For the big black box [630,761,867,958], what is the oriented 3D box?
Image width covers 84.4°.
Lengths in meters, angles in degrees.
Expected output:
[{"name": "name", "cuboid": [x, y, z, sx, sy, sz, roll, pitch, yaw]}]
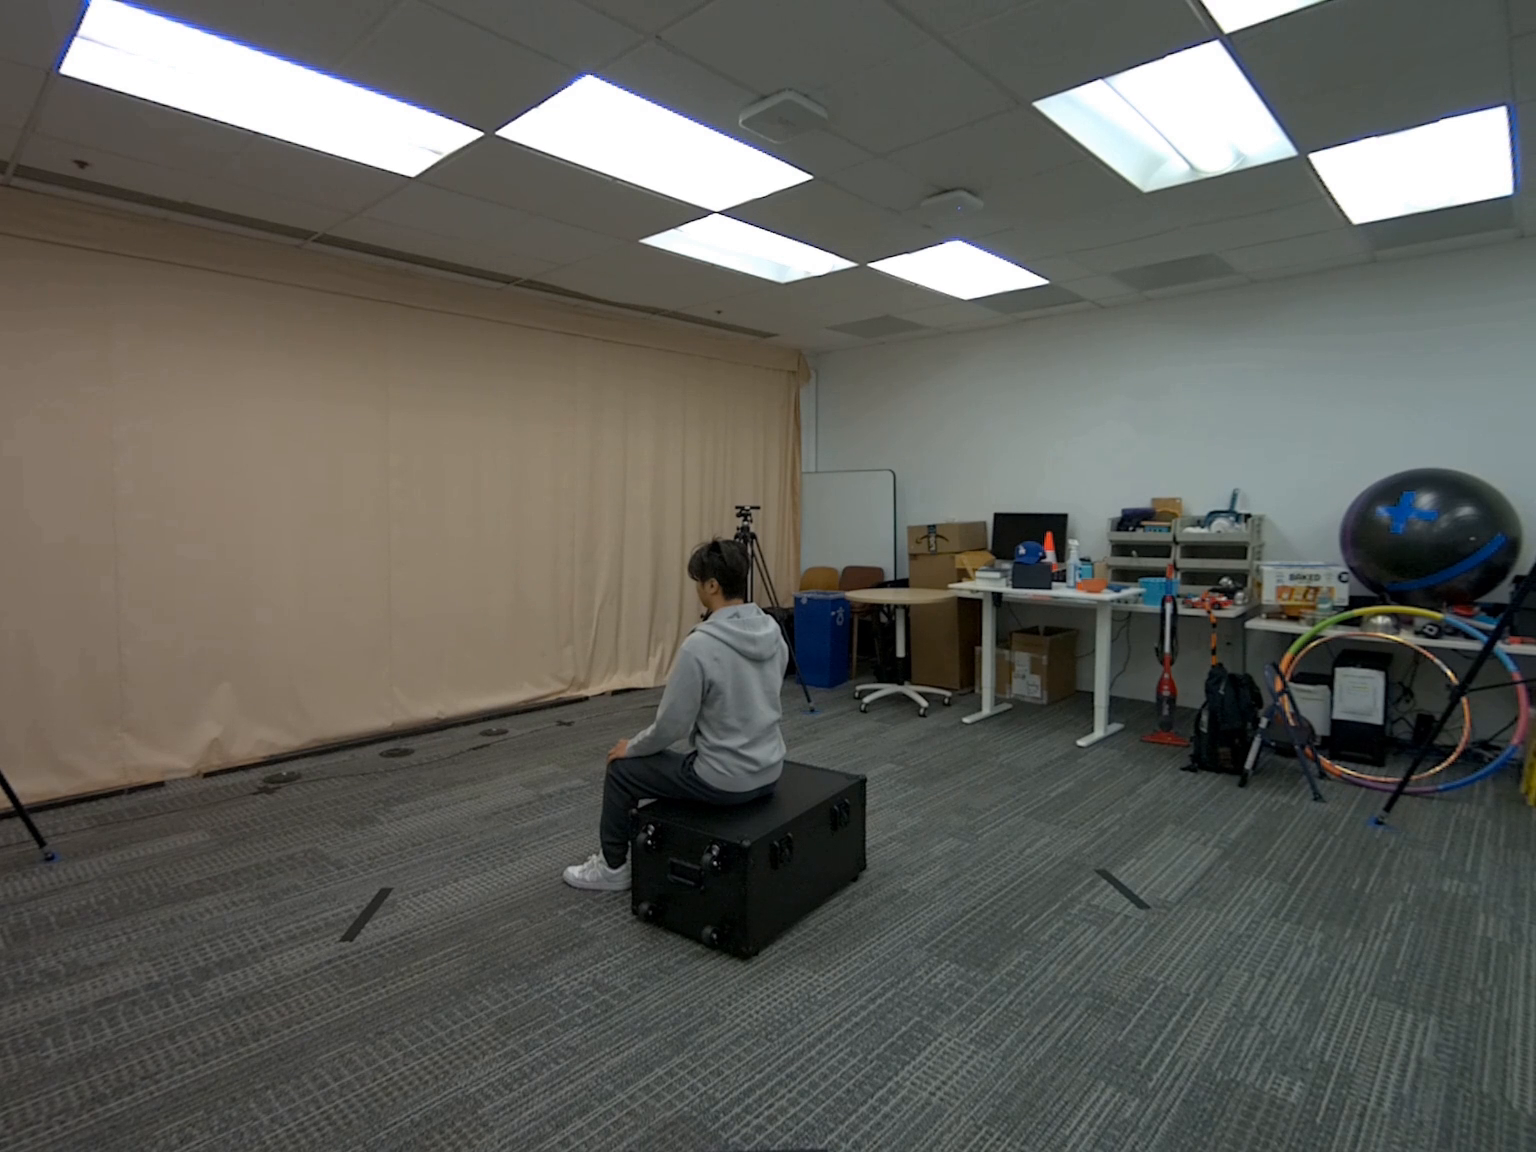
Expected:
[{"name": "big black box", "cuboid": [-0.020, 0.958, 3.010, 0.538, 0.395, 0.836, 3, 6, 35]}]
